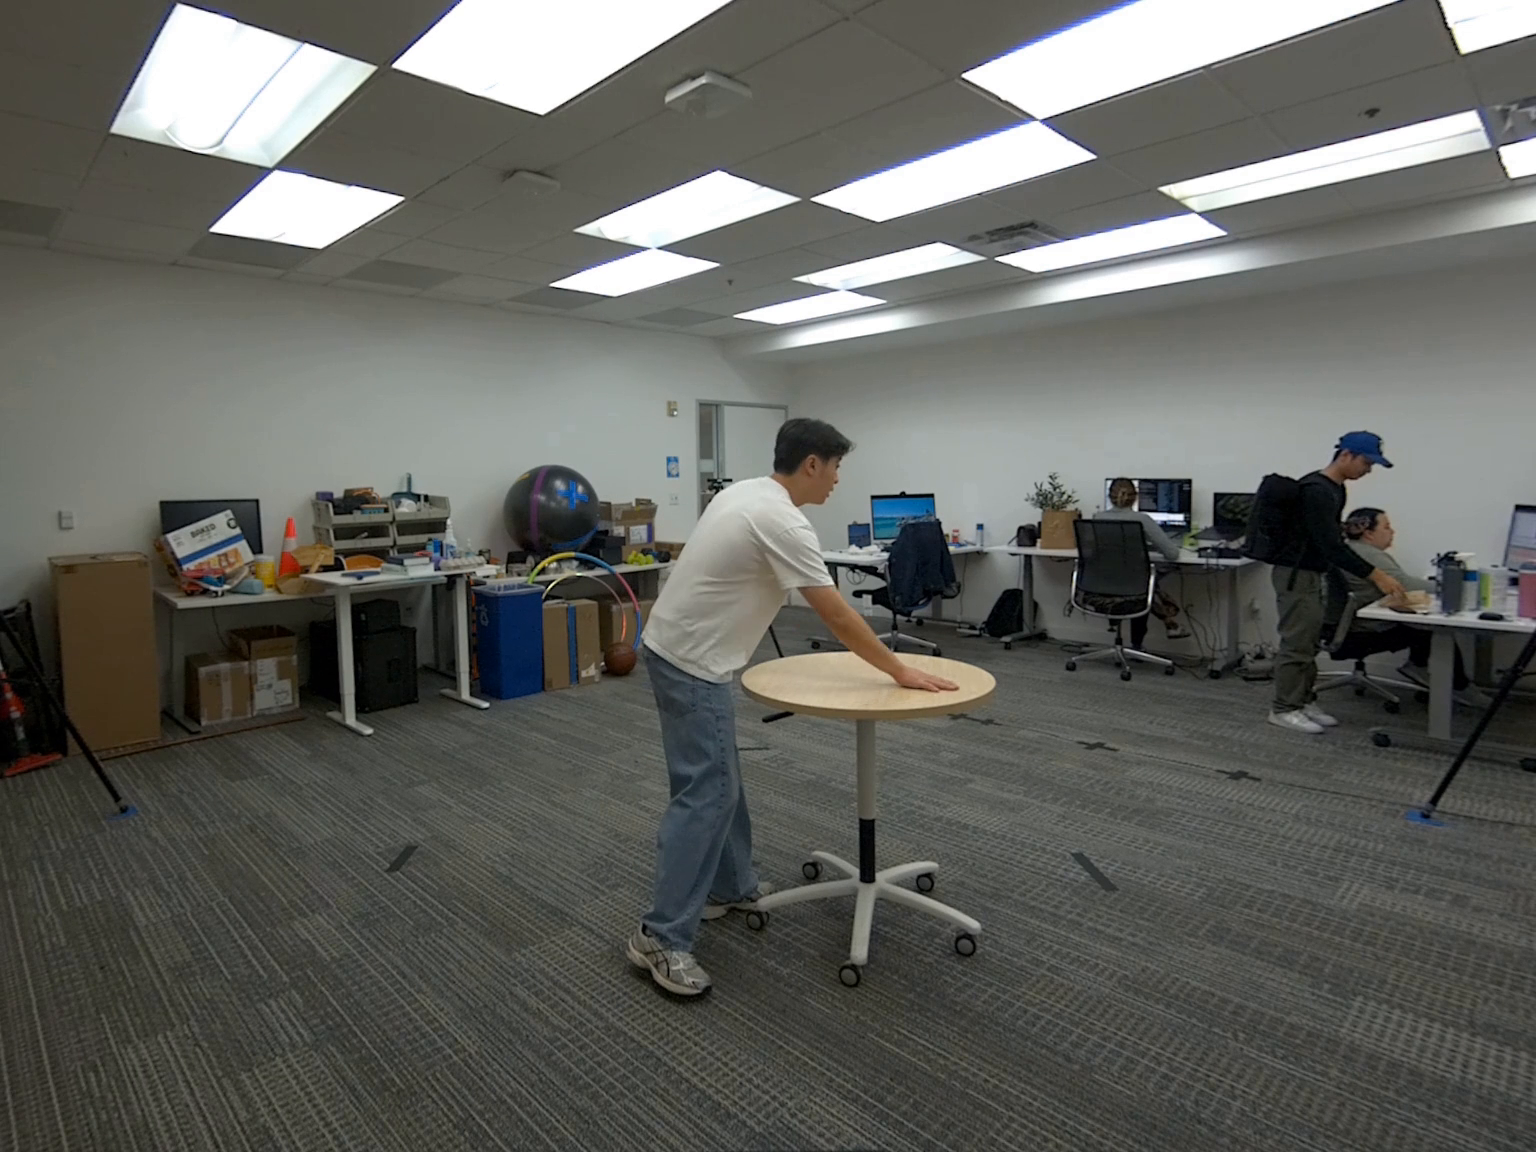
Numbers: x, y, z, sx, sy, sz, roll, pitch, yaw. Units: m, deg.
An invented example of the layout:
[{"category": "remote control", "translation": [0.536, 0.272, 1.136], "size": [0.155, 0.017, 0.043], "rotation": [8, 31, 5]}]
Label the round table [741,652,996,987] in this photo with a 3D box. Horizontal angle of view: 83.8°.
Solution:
[{"category": "round table", "translation": [0.309, 0.698, 2.659], "size": [0.763, 0.791, 0.768], "rotation": [-1, 5, -2]}]
